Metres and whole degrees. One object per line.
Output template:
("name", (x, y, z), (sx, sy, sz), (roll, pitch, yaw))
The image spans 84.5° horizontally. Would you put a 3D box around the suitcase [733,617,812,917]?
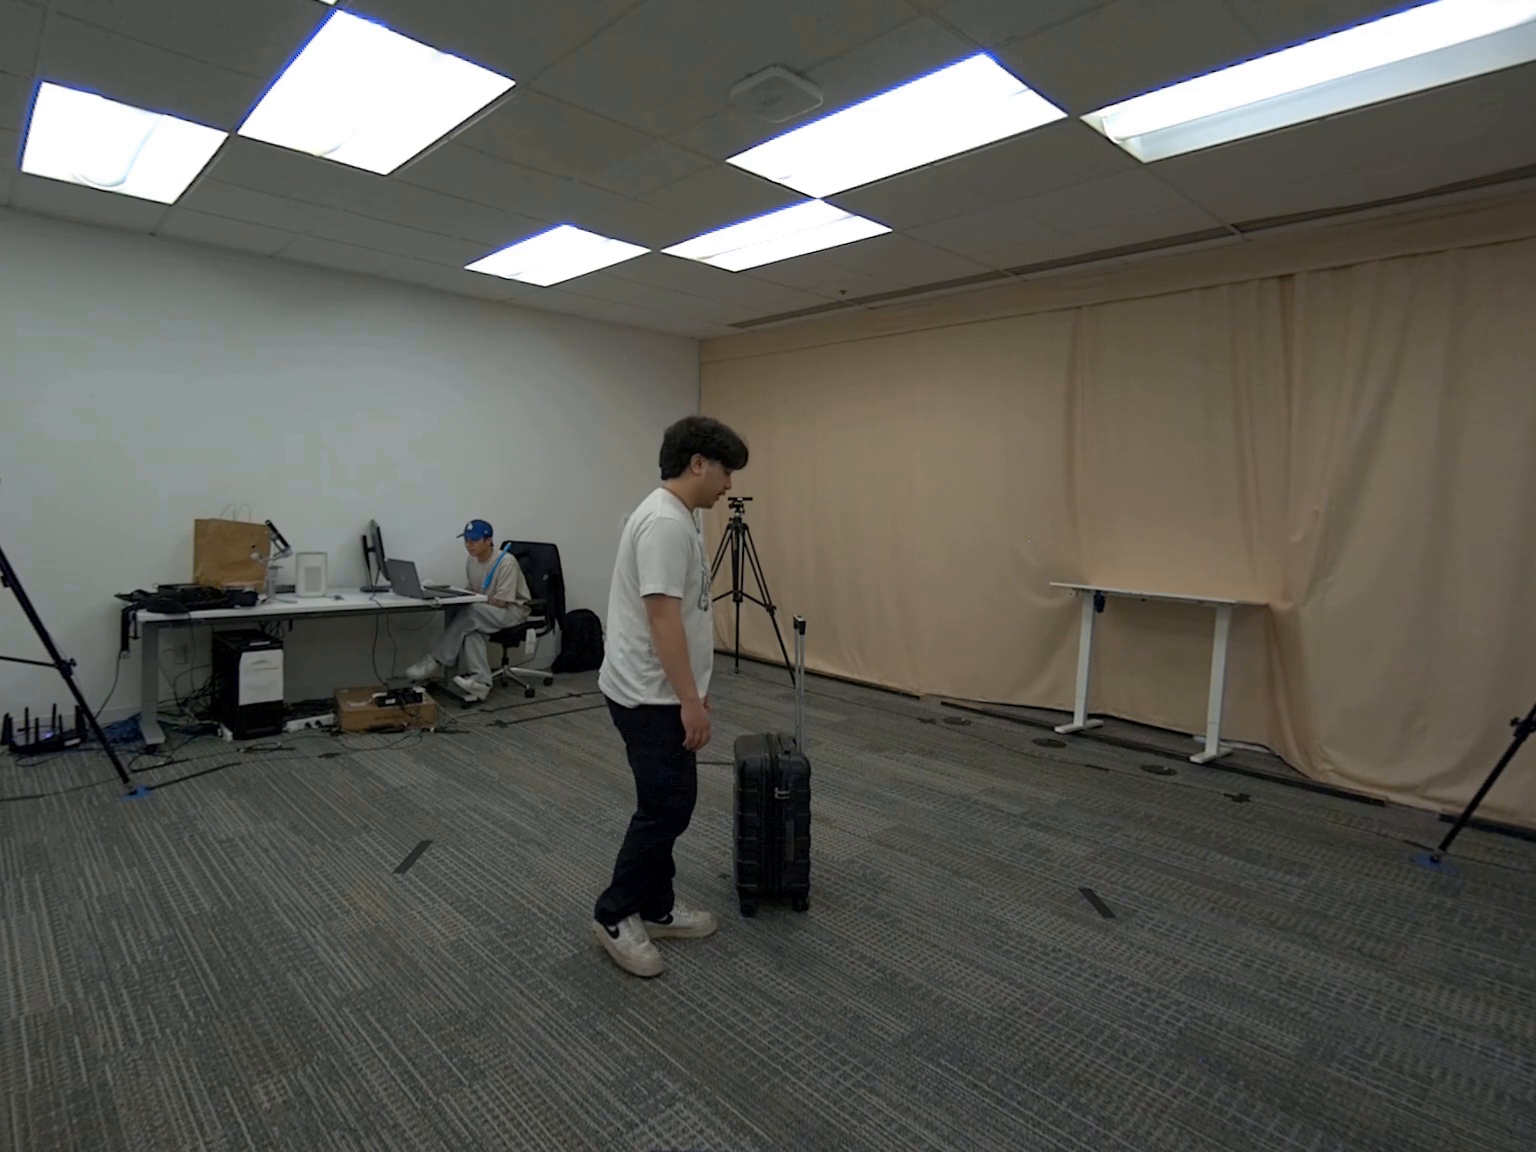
("suitcase", (-0.003, 0.648, 2.949), (0.256, 0.977, 0.386), (-1, 3, -6))
